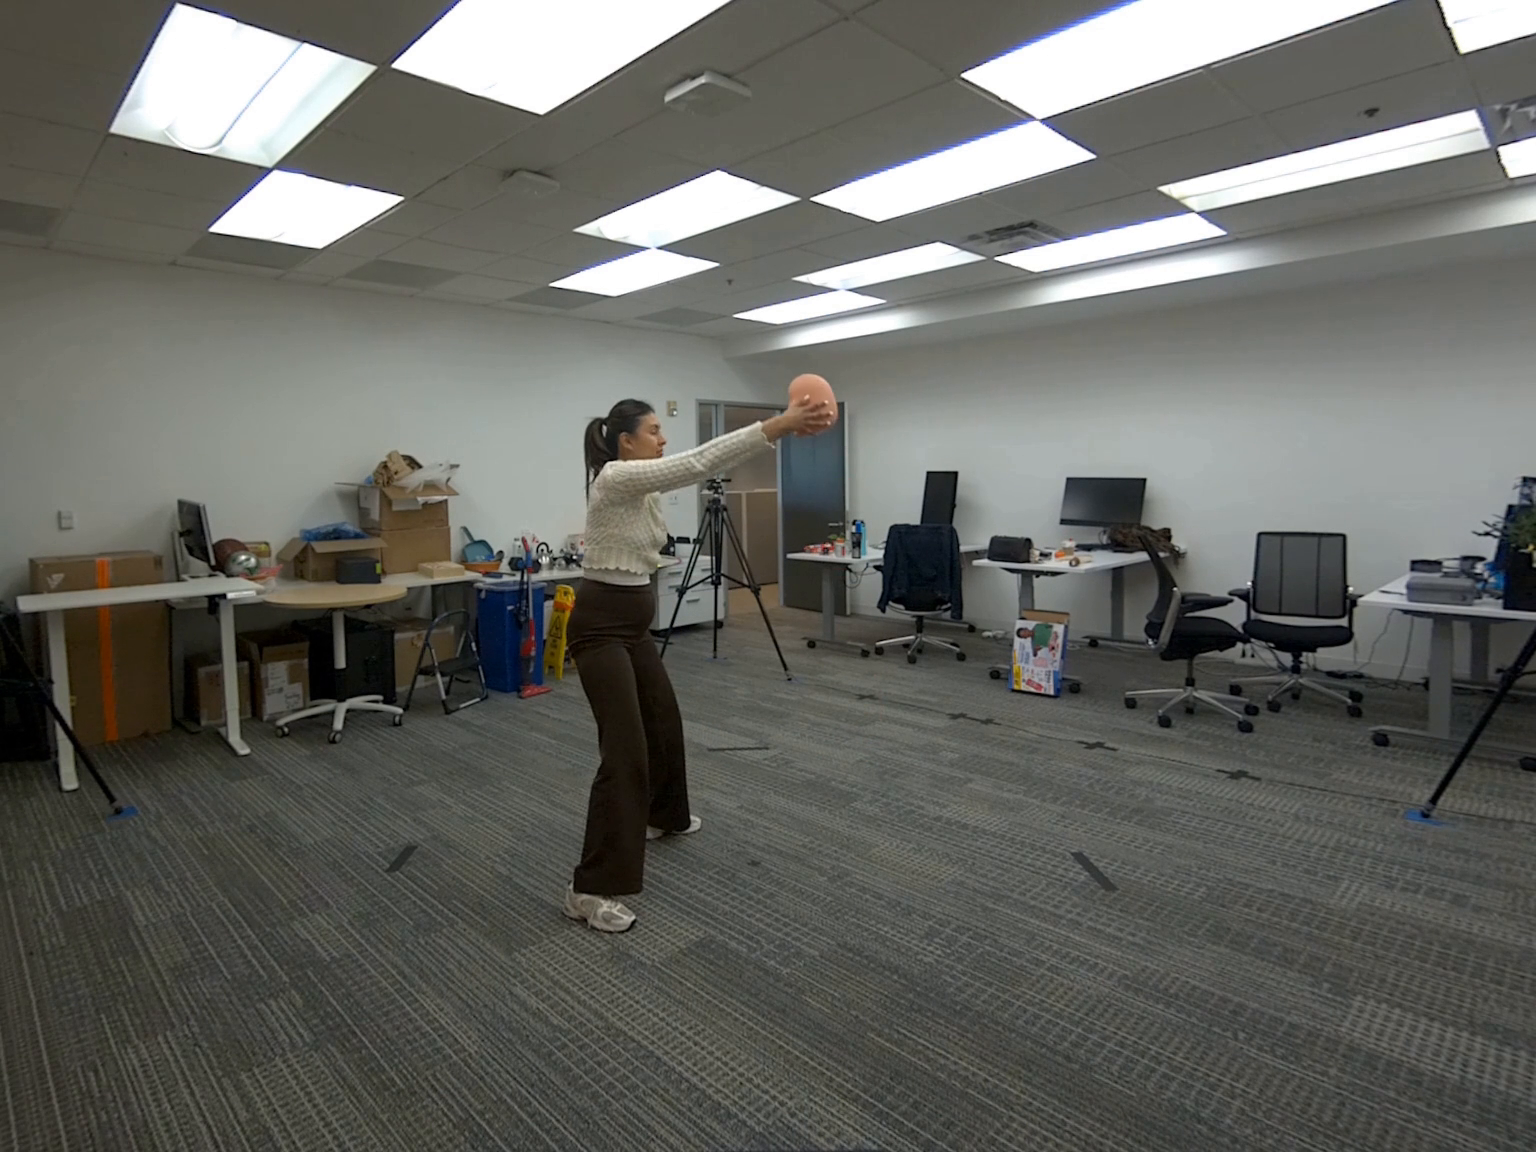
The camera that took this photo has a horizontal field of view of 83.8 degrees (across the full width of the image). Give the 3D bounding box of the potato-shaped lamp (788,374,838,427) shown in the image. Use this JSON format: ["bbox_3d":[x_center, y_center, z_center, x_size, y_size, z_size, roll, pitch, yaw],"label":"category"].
[{"bbox_3d":[0.128,-0.565,2.834,0.173,0.197,0.164,-11,4,9],"label":"potato-shaped lamp"}]
